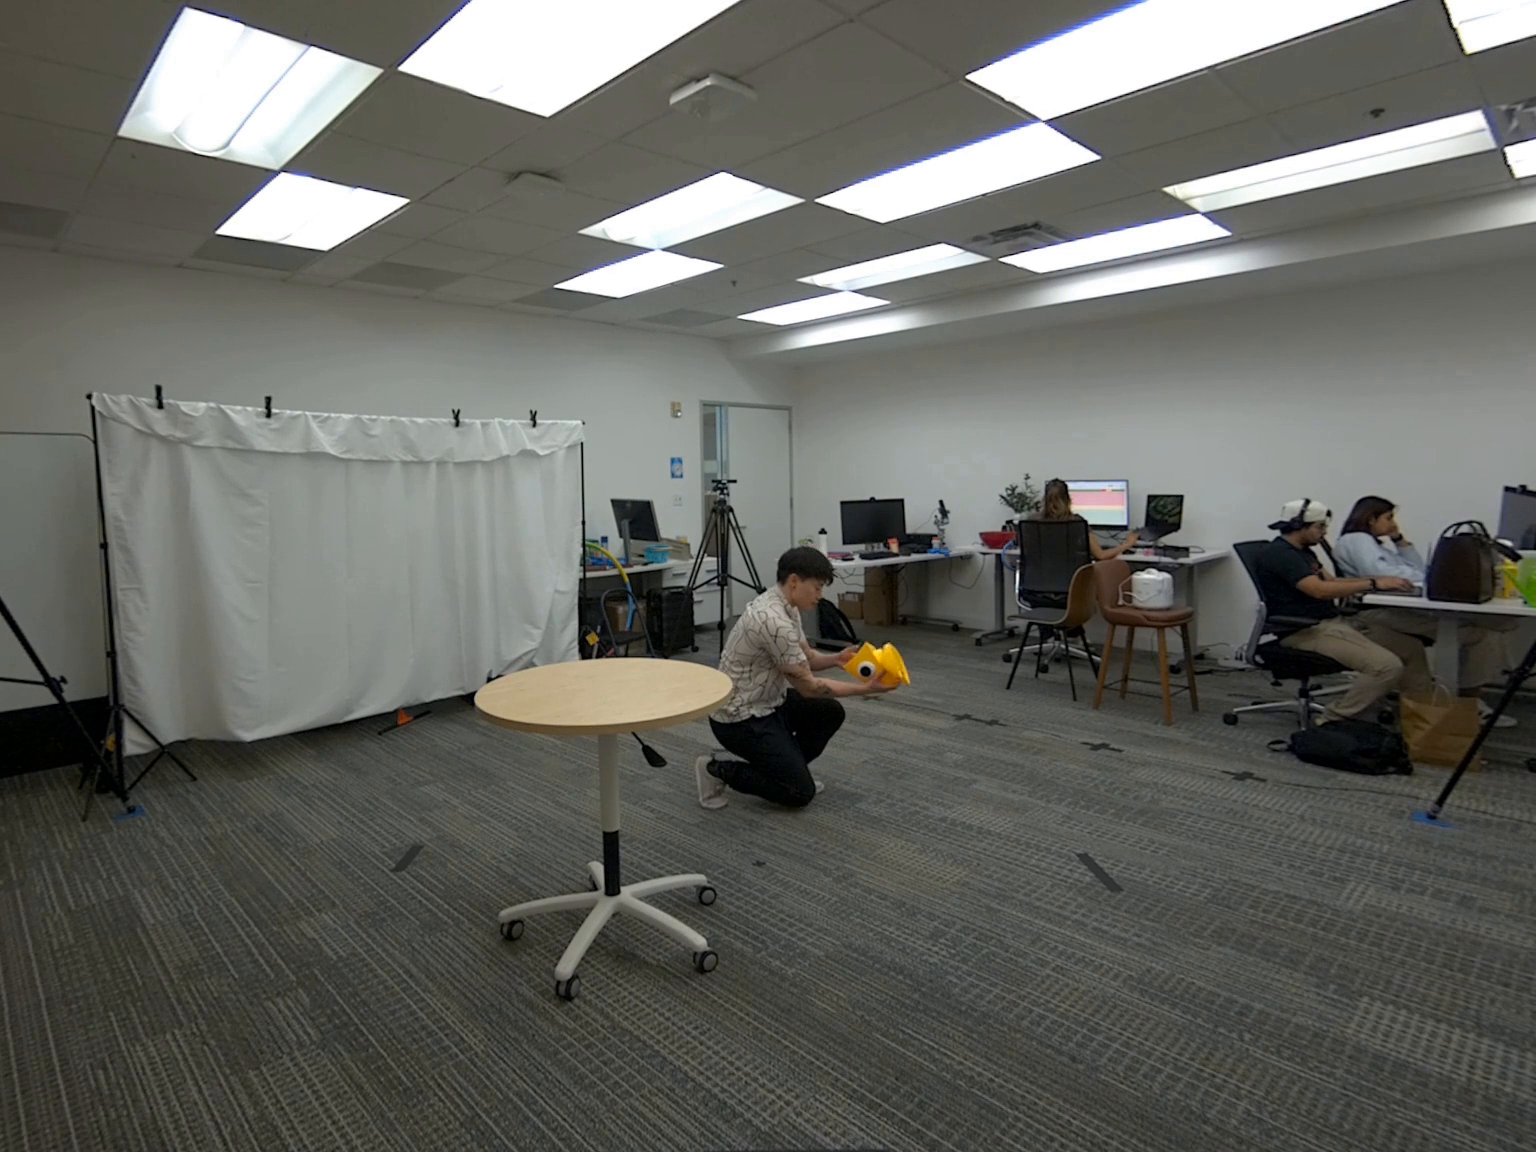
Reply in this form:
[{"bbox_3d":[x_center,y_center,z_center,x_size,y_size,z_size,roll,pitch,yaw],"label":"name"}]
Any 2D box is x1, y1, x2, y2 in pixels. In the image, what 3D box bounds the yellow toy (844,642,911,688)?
[{"bbox_3d":[0.441,0.394,3.577,0.232,0.198,0.197,-26,-28,17],"label":"yellow toy"}]
